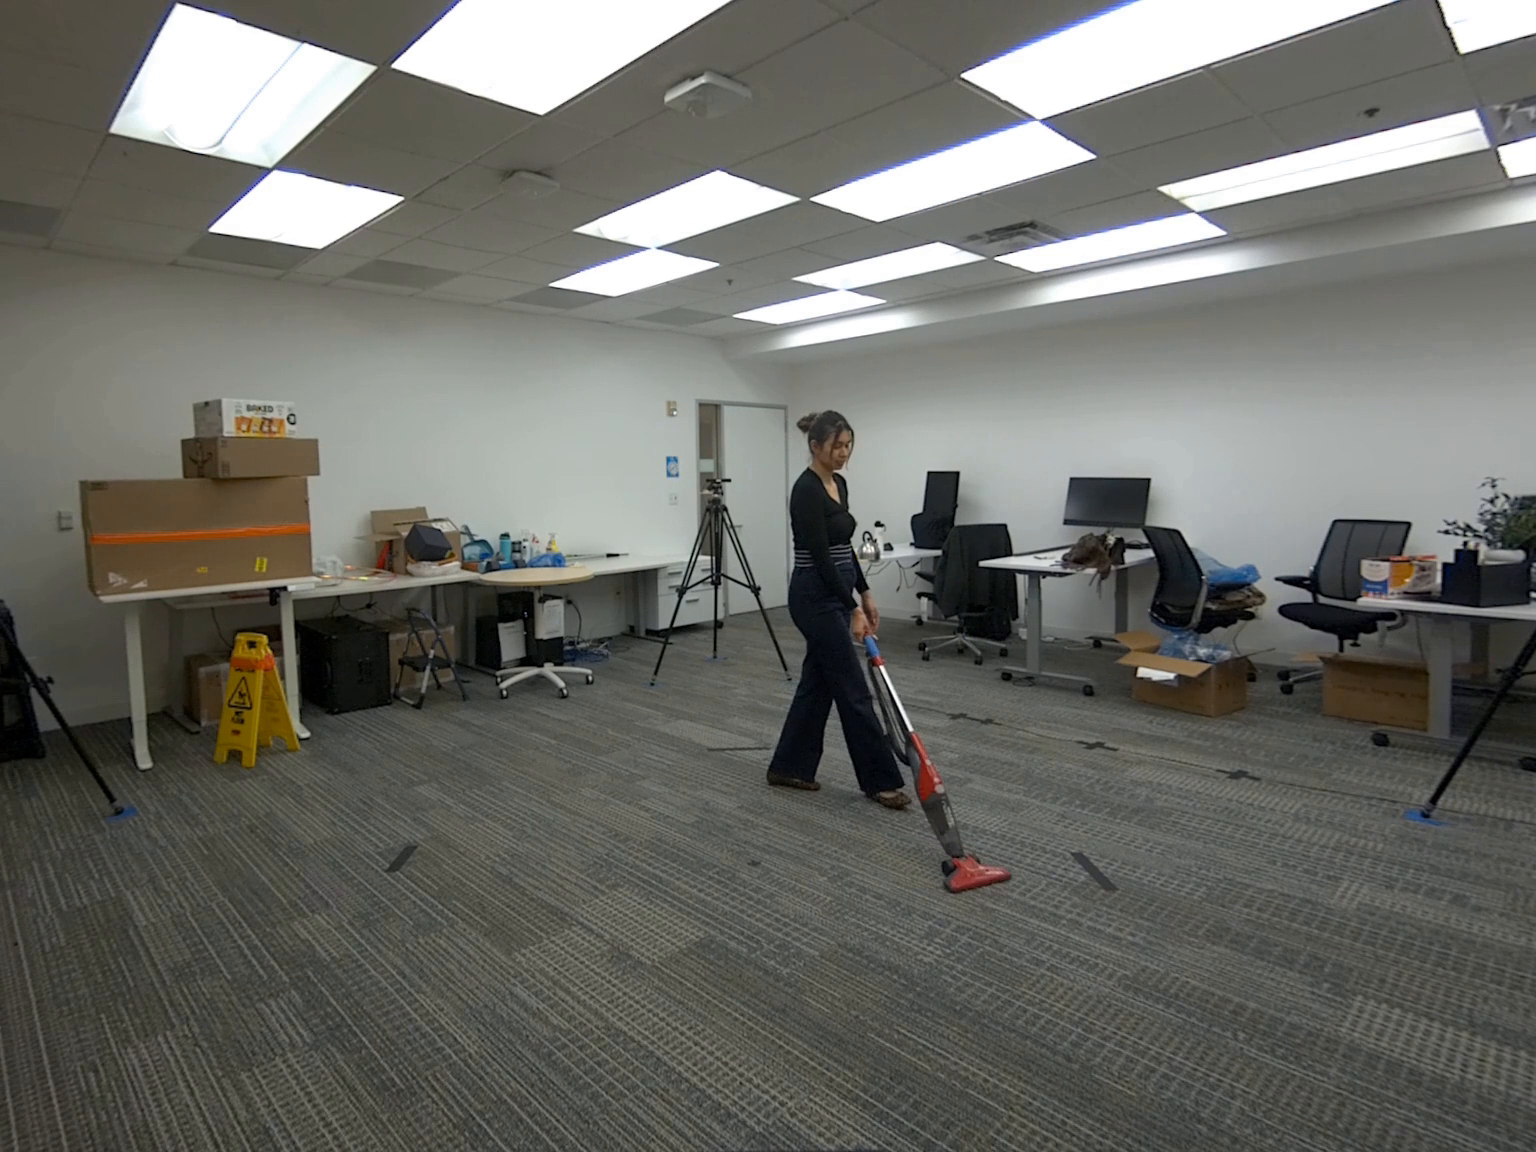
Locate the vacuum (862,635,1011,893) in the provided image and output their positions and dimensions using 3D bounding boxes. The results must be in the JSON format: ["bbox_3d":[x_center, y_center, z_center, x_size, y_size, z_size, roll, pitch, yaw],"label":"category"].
[{"bbox_3d":[0.540,0.634,3.260,0.246,1.086,0.143,2,-42,-30],"label":"vacuum"}]
